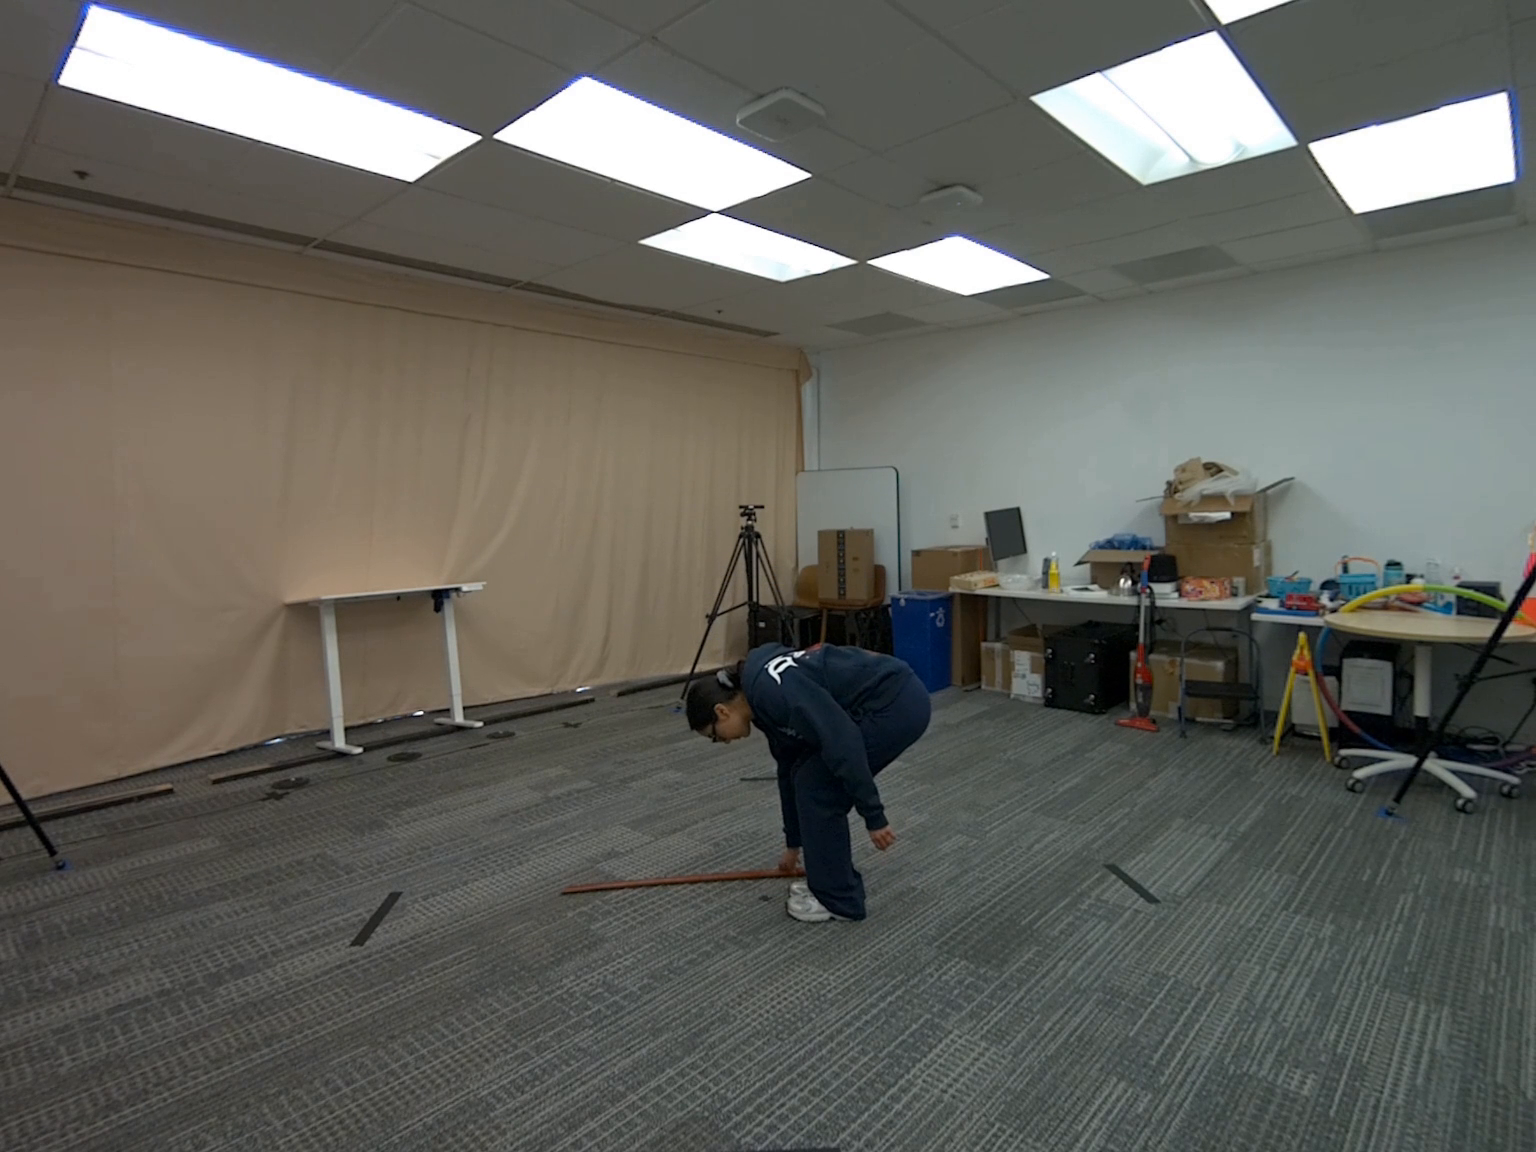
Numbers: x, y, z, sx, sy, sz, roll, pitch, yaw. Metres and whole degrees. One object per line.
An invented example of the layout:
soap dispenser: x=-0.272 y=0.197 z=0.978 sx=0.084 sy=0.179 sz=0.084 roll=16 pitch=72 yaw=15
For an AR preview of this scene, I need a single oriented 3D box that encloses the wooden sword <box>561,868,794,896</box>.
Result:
wooden sword: x=-0.249 y=1.118 z=3.126 sx=1.017 sy=0.051 sz=0.024 roll=-1 pitch=19 yaw=-7
